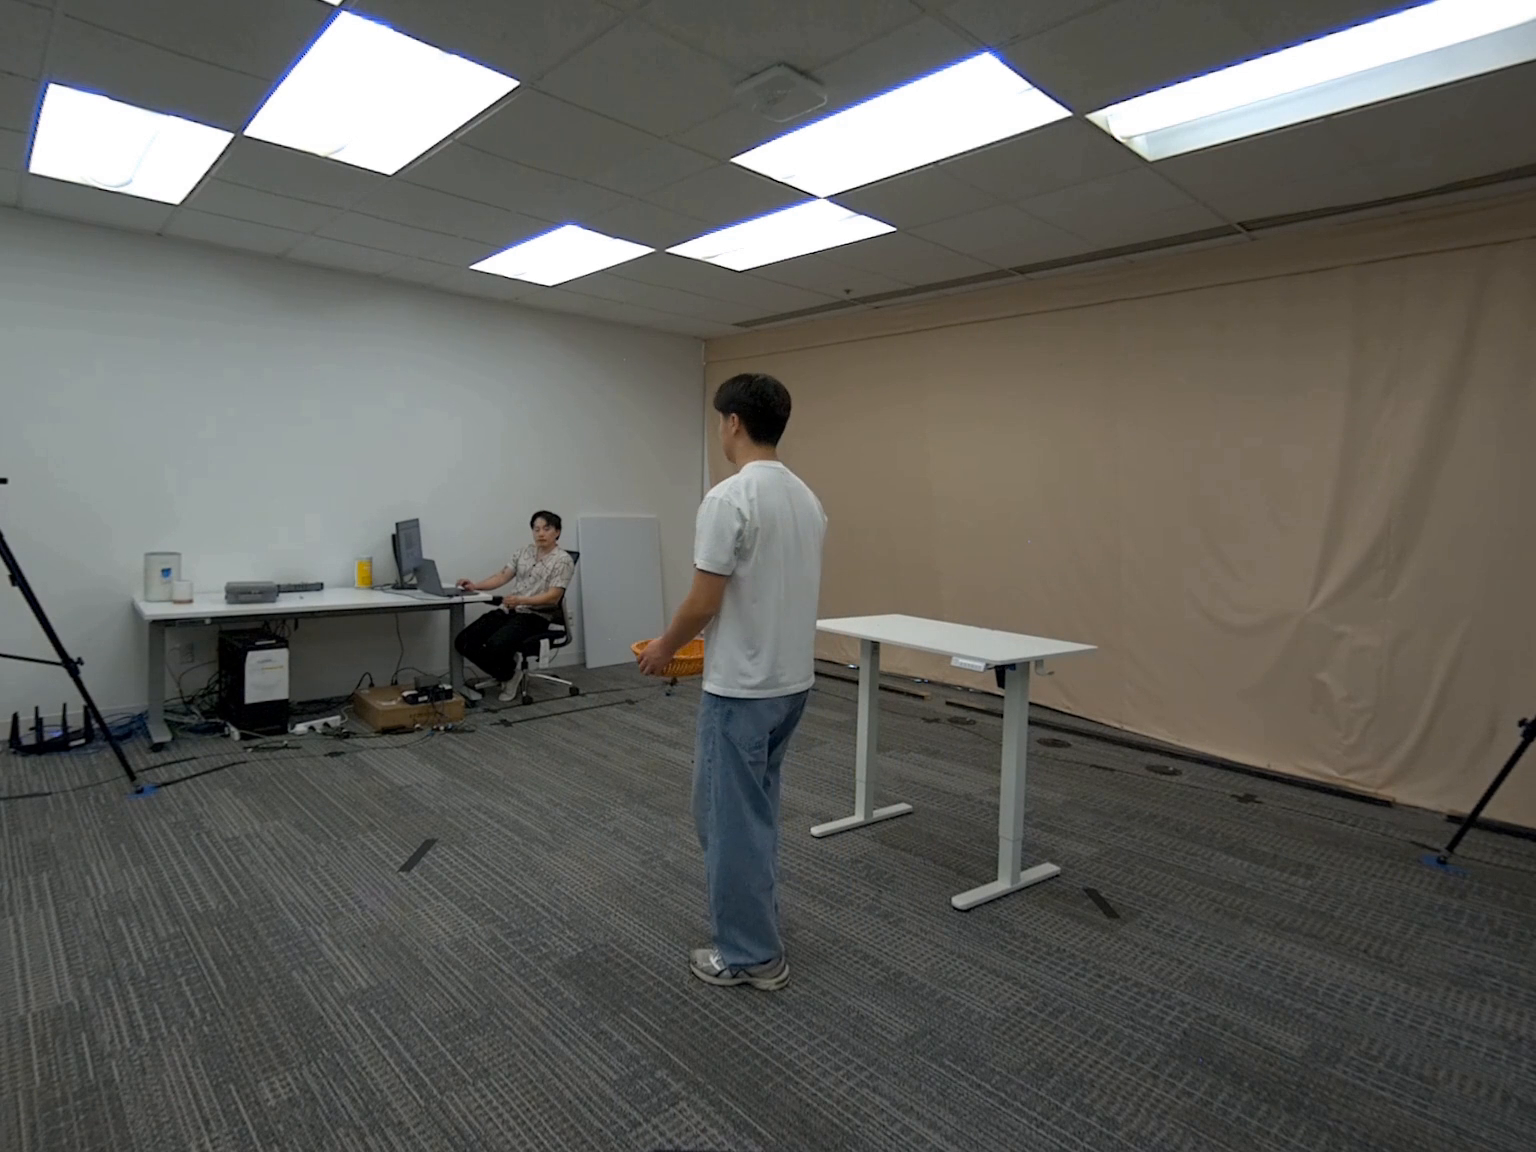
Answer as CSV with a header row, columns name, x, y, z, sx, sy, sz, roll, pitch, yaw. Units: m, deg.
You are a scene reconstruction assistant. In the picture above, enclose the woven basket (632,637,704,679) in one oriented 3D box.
name,x,y,z,sx,sy,sz,roll,pitch,yaw
woven basket,-0.254,0.265,2.649,0.259,0.073,0.342,10,9,41
